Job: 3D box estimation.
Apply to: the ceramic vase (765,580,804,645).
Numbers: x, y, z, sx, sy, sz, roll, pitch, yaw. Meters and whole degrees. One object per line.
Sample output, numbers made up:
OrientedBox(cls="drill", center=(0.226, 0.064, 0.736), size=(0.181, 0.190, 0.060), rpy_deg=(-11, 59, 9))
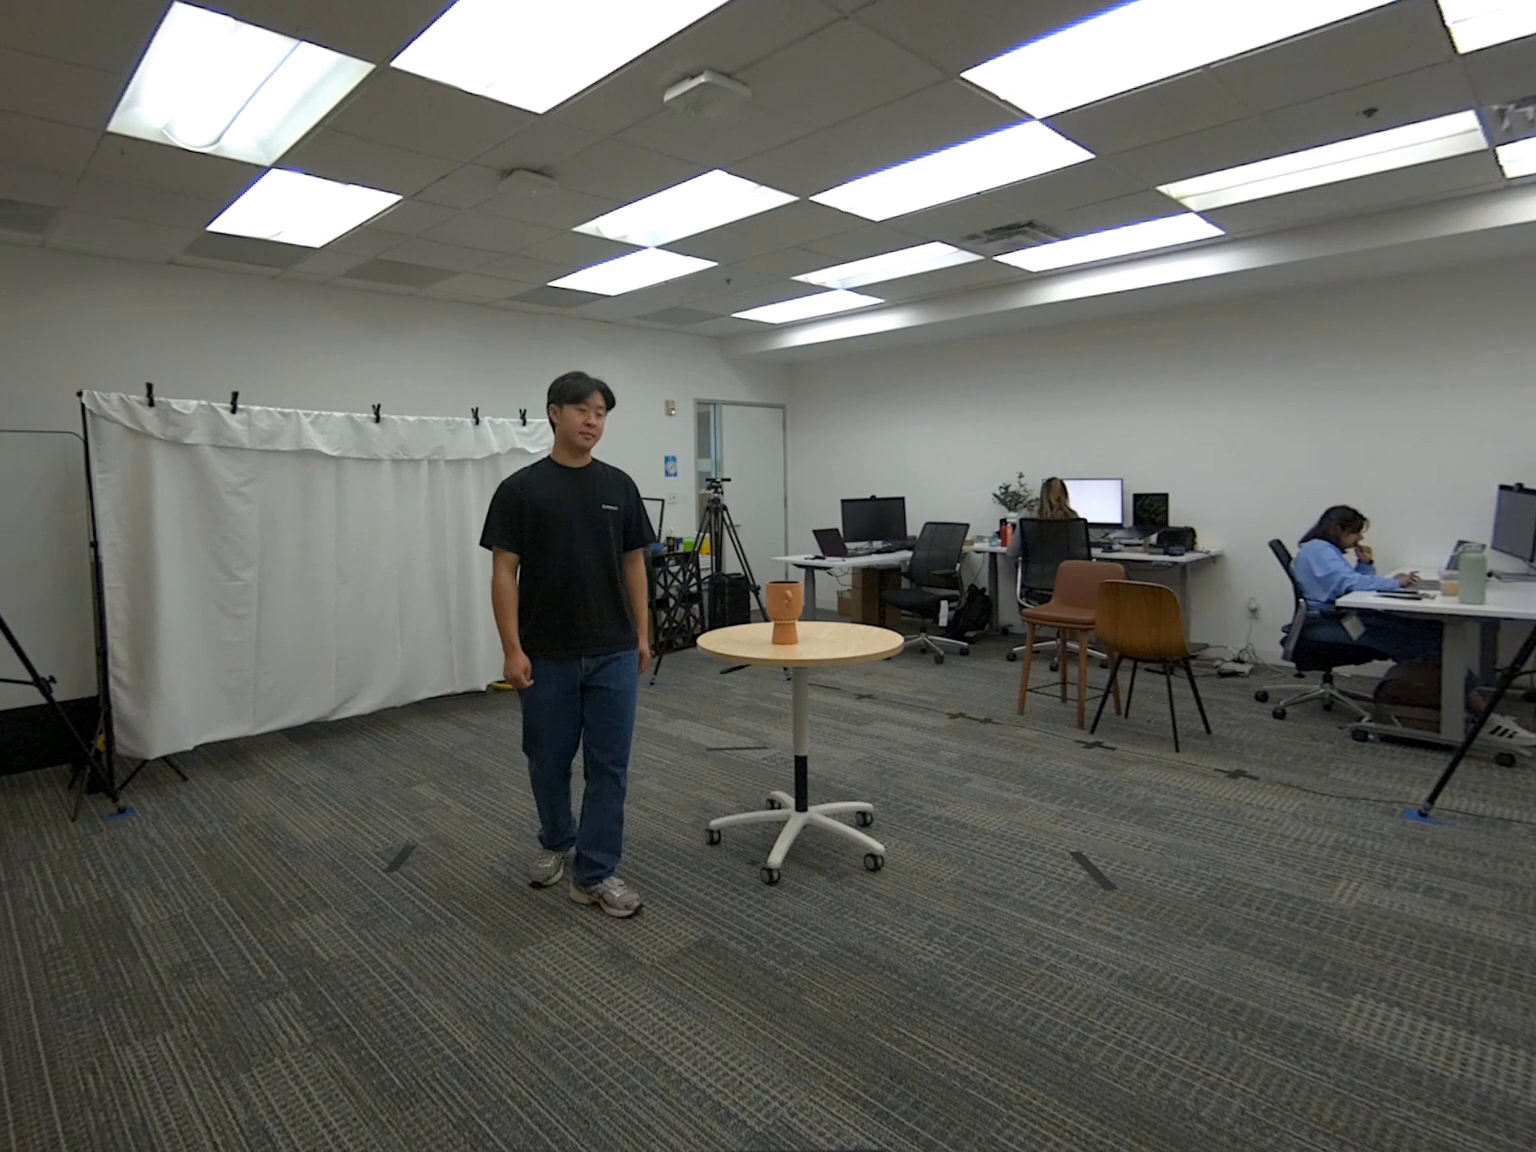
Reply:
OrientedBox(cls="ceramic vase", center=(0.060, 0.133, 3.108), size=(0.138, 0.219, 0.155), rpy_deg=(0, 5, 29))
